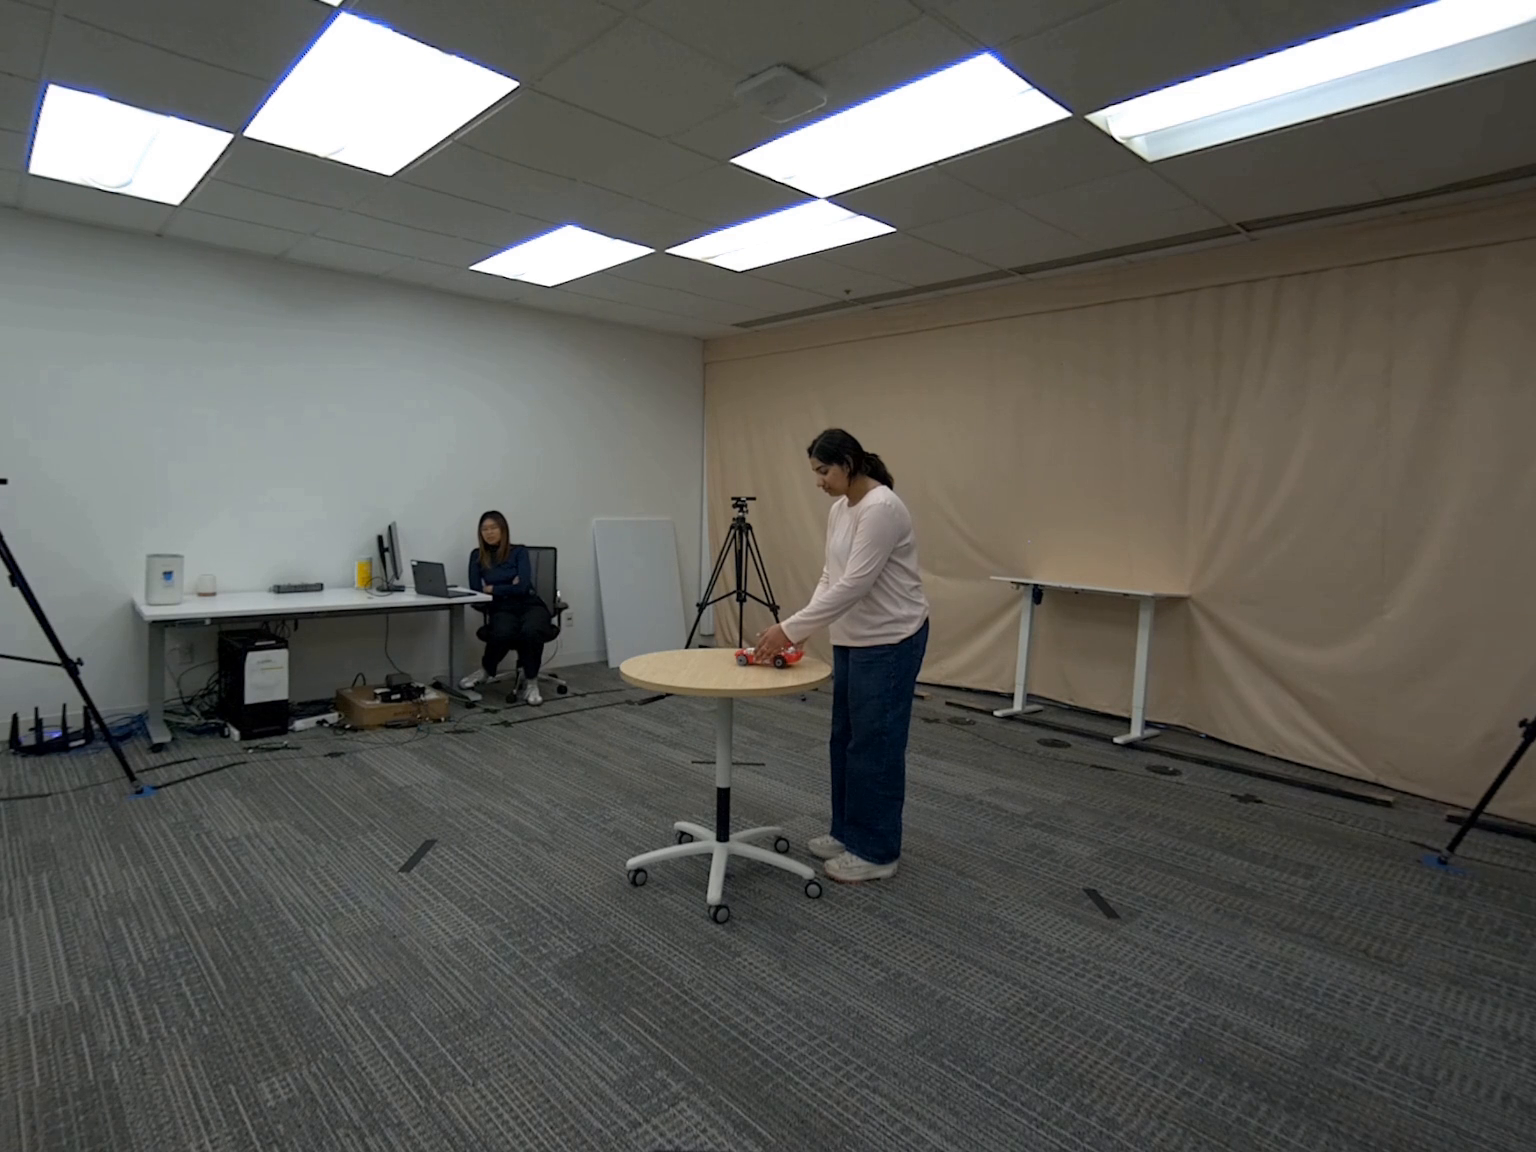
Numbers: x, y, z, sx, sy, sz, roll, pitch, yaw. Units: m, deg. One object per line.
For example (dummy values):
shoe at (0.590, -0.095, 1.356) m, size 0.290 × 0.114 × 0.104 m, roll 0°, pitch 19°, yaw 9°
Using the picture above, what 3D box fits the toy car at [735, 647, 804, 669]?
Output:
toy car at (0.006, 0.295, 3.076) m, size 0.258 × 0.083 × 0.128 m, roll -9°, pitch 0°, yaw 21°
